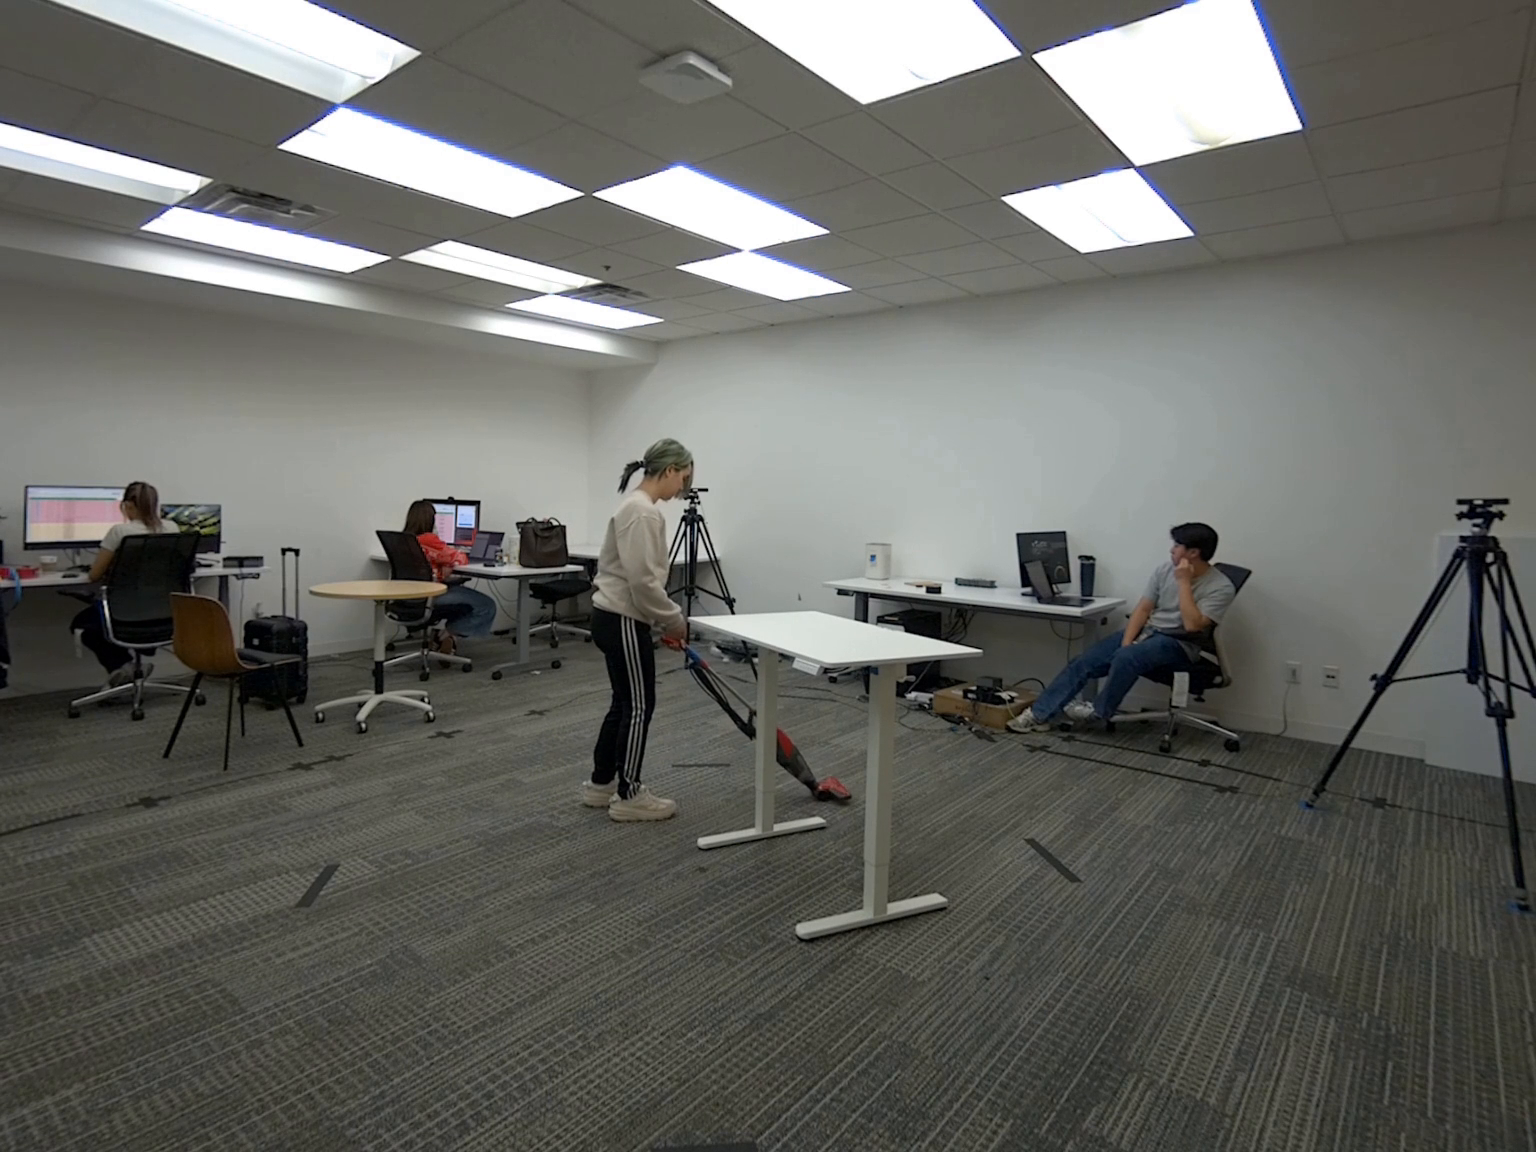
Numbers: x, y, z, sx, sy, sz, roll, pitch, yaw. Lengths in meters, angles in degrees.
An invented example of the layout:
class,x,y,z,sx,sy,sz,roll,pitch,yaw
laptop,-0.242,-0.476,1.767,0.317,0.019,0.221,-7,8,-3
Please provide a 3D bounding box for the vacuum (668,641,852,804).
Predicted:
class,x,y,z,sx,sy,sz,roll,pitch,yaw
vacuum,-0.103,0.638,3.804,1.032,0.144,0.257,43,-7,-12
